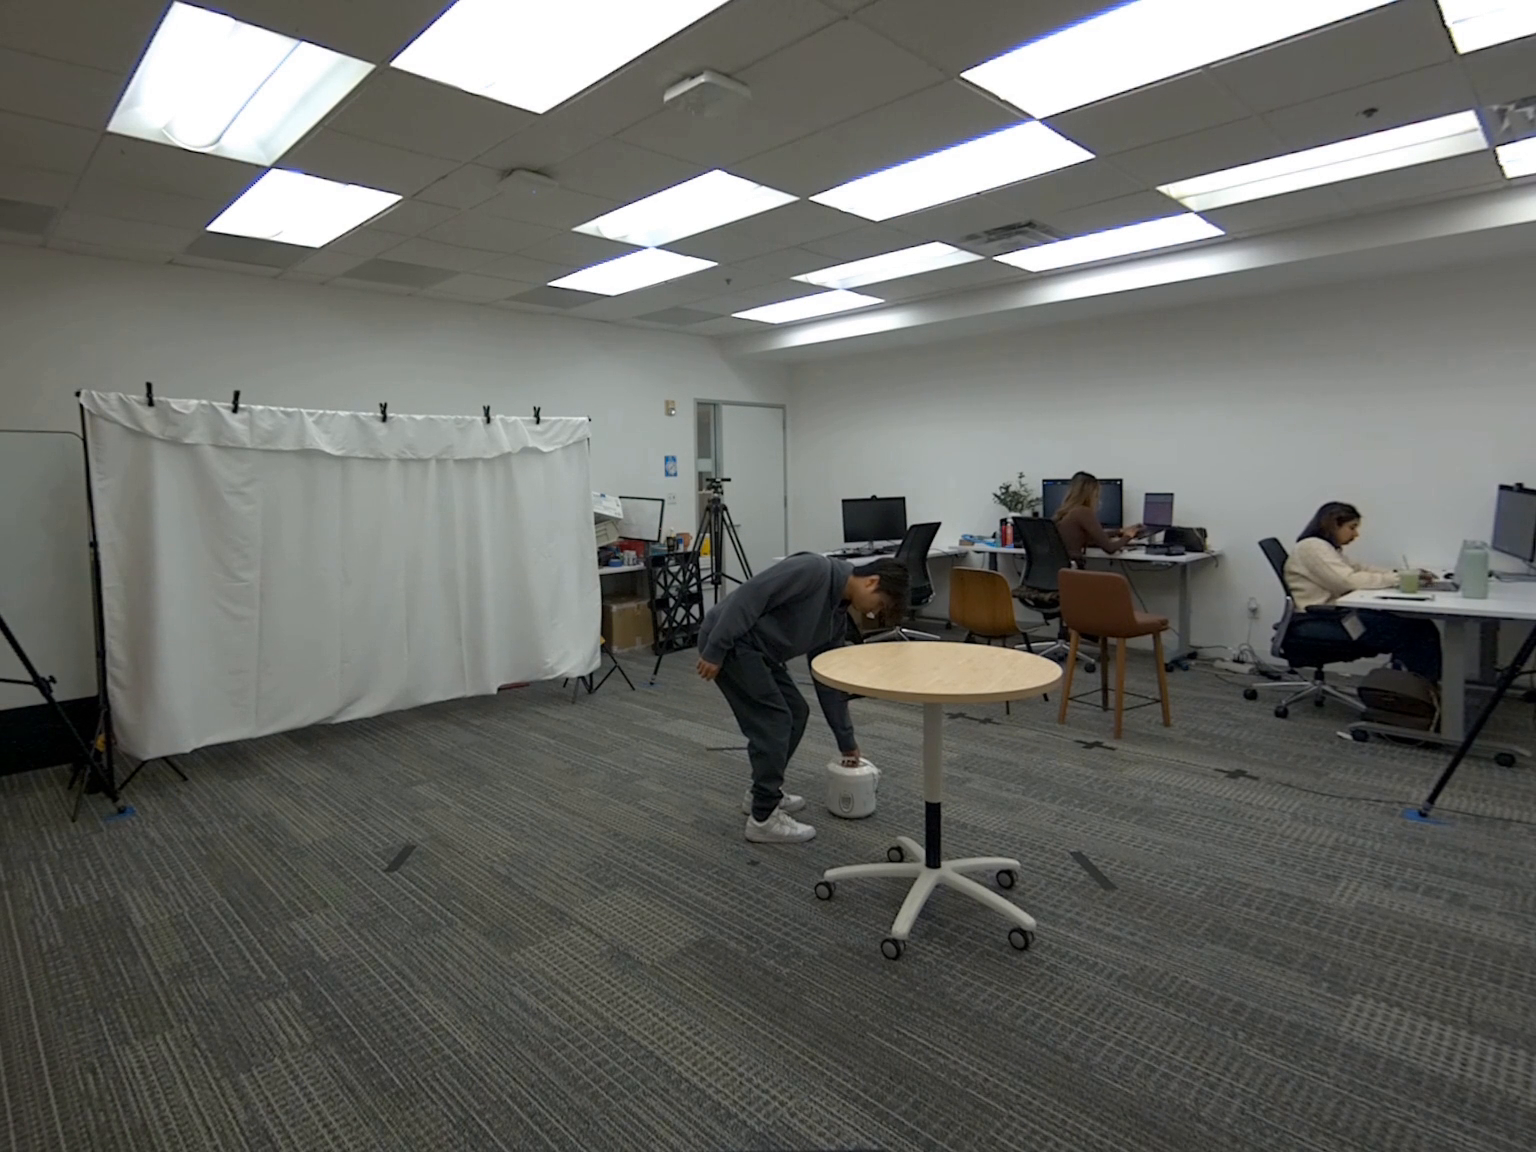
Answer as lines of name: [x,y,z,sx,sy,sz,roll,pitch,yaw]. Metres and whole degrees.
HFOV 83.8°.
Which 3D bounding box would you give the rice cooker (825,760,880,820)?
rice cooker: [0.348,0.864,3.557,0.225,0.232,0.214,1,5,19]
